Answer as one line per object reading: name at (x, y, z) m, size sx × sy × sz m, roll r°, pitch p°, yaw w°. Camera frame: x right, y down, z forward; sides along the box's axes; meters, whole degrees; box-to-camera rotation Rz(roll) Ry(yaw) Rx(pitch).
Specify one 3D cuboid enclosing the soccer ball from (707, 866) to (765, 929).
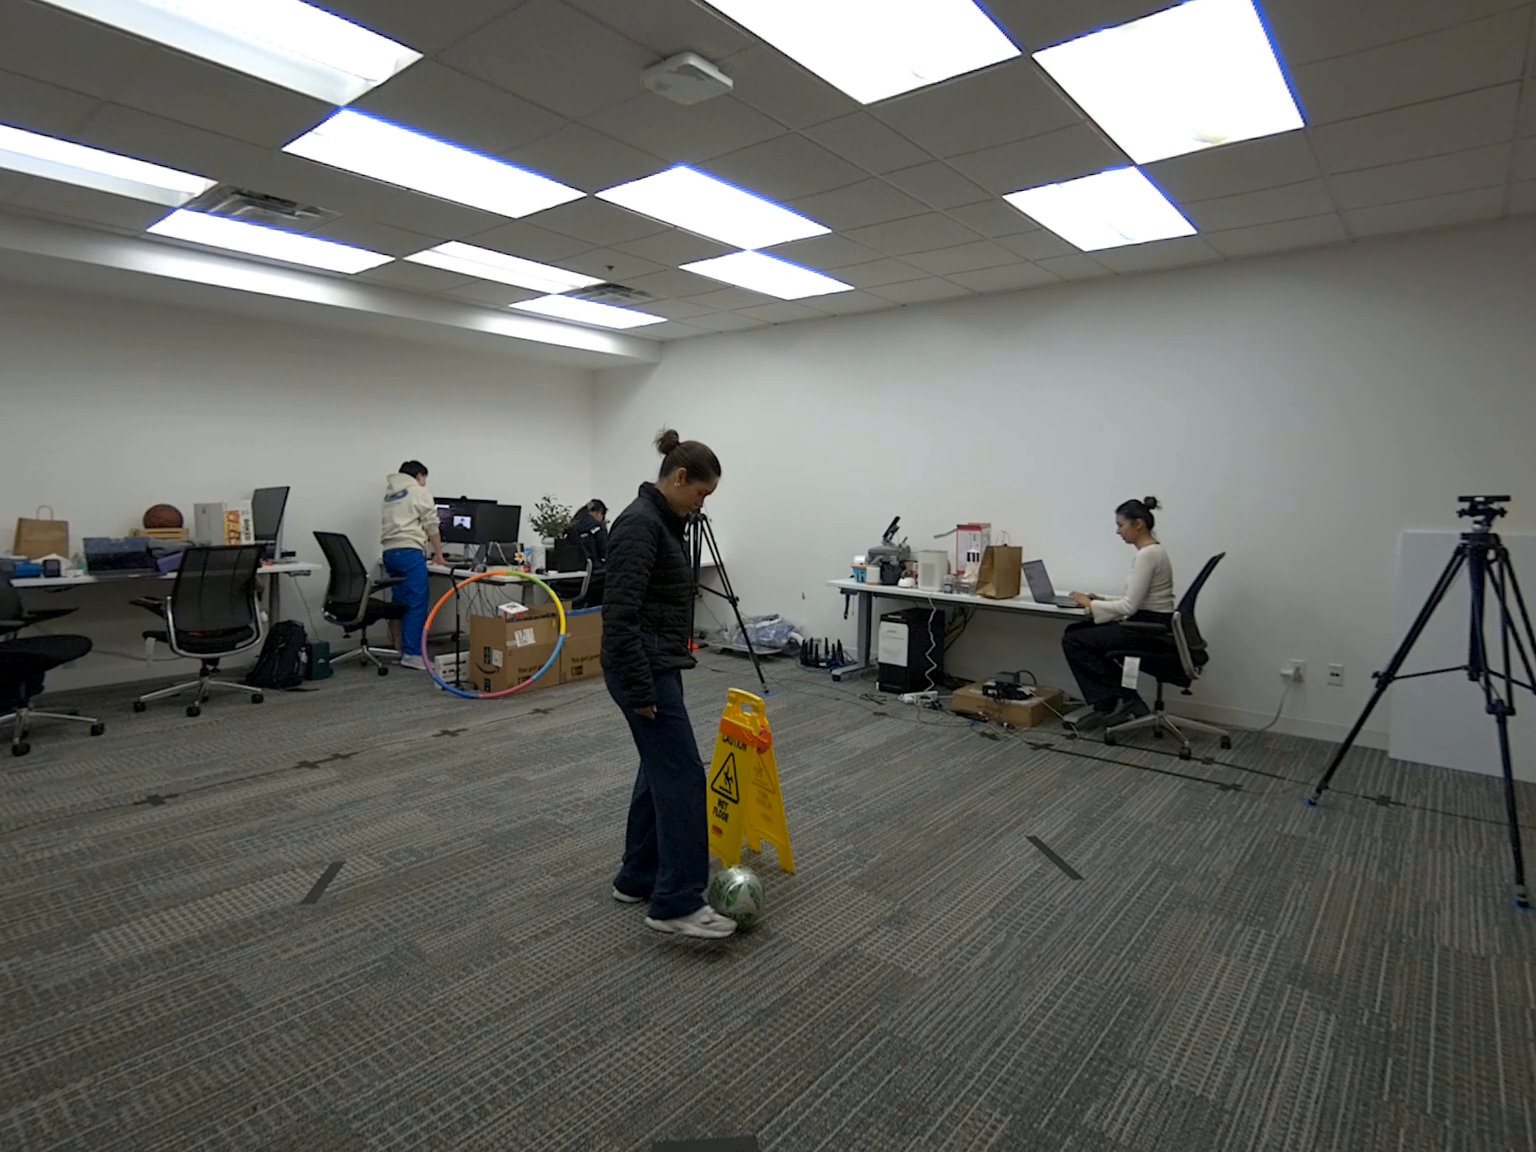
soccer ball at (-0.104, 1.011, 2.701) m, size 0.187 × 0.187 × 0.188 m, roll 1°, pitch 4°, yaw -2°
